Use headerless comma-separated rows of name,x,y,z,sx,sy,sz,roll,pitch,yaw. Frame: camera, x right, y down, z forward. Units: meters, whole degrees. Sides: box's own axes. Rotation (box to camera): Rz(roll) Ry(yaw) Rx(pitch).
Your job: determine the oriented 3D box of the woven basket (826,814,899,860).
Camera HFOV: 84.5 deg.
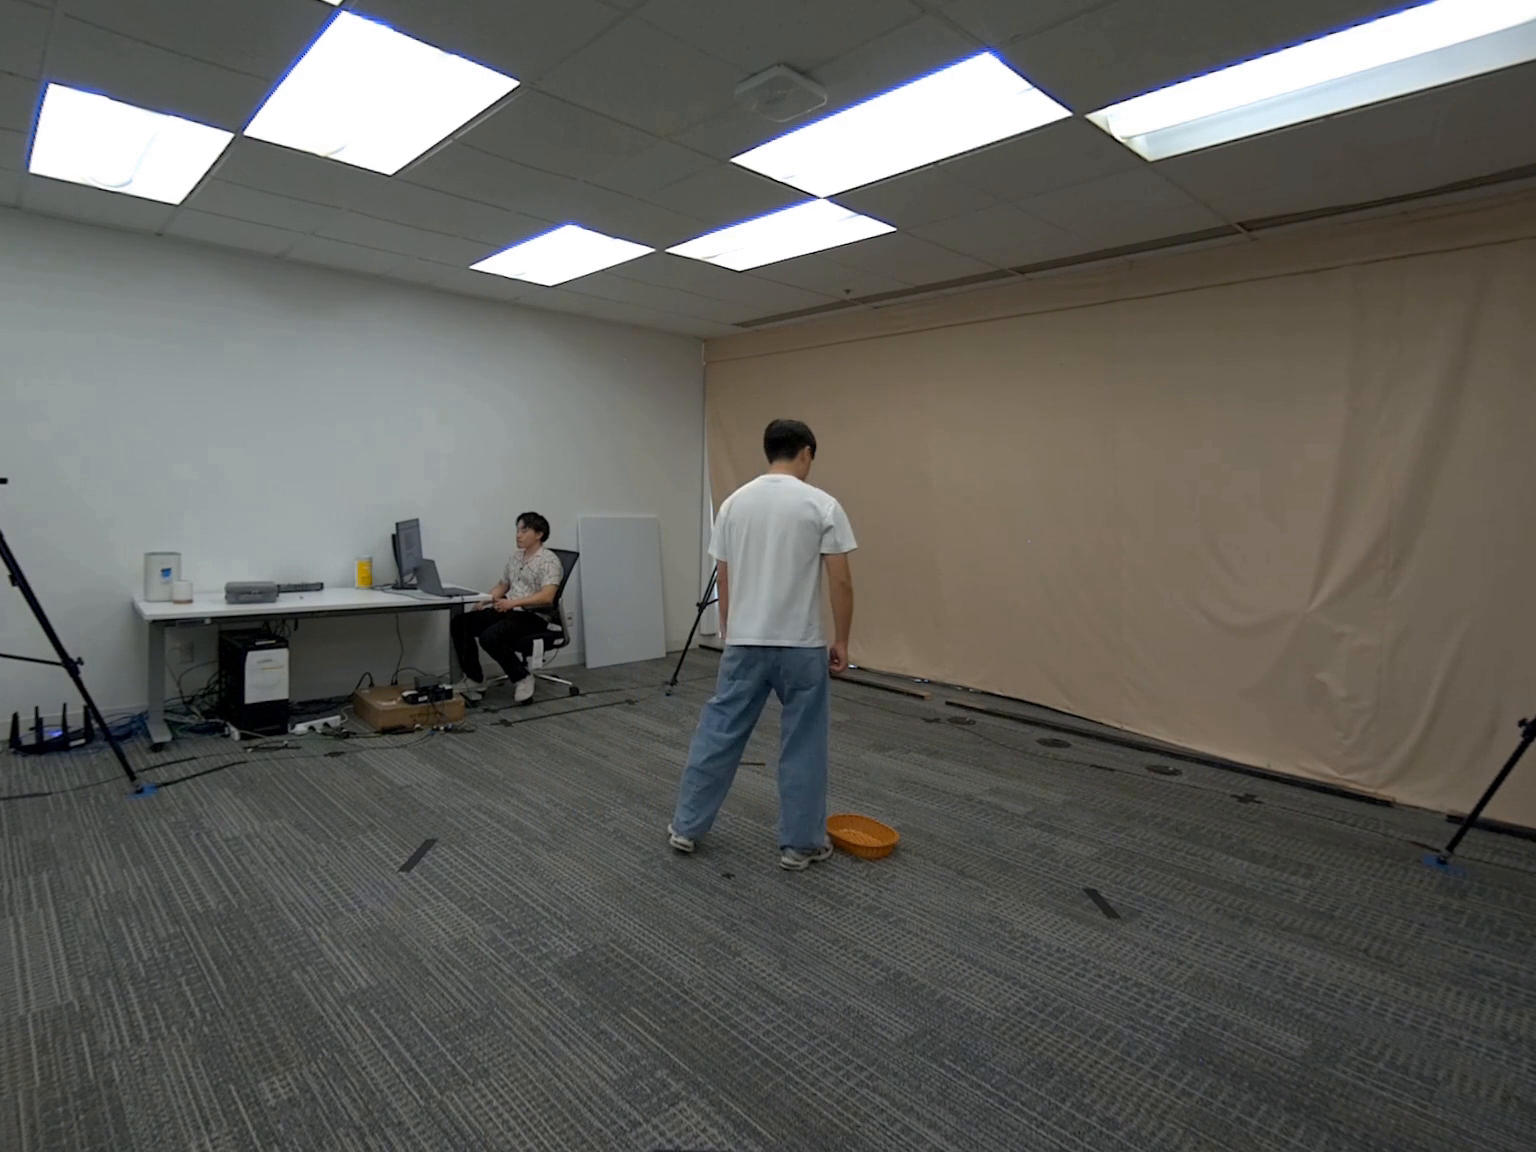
woven basket,0.358,1.054,3.405,0.247,0.073,0.358,-1,5,-30
